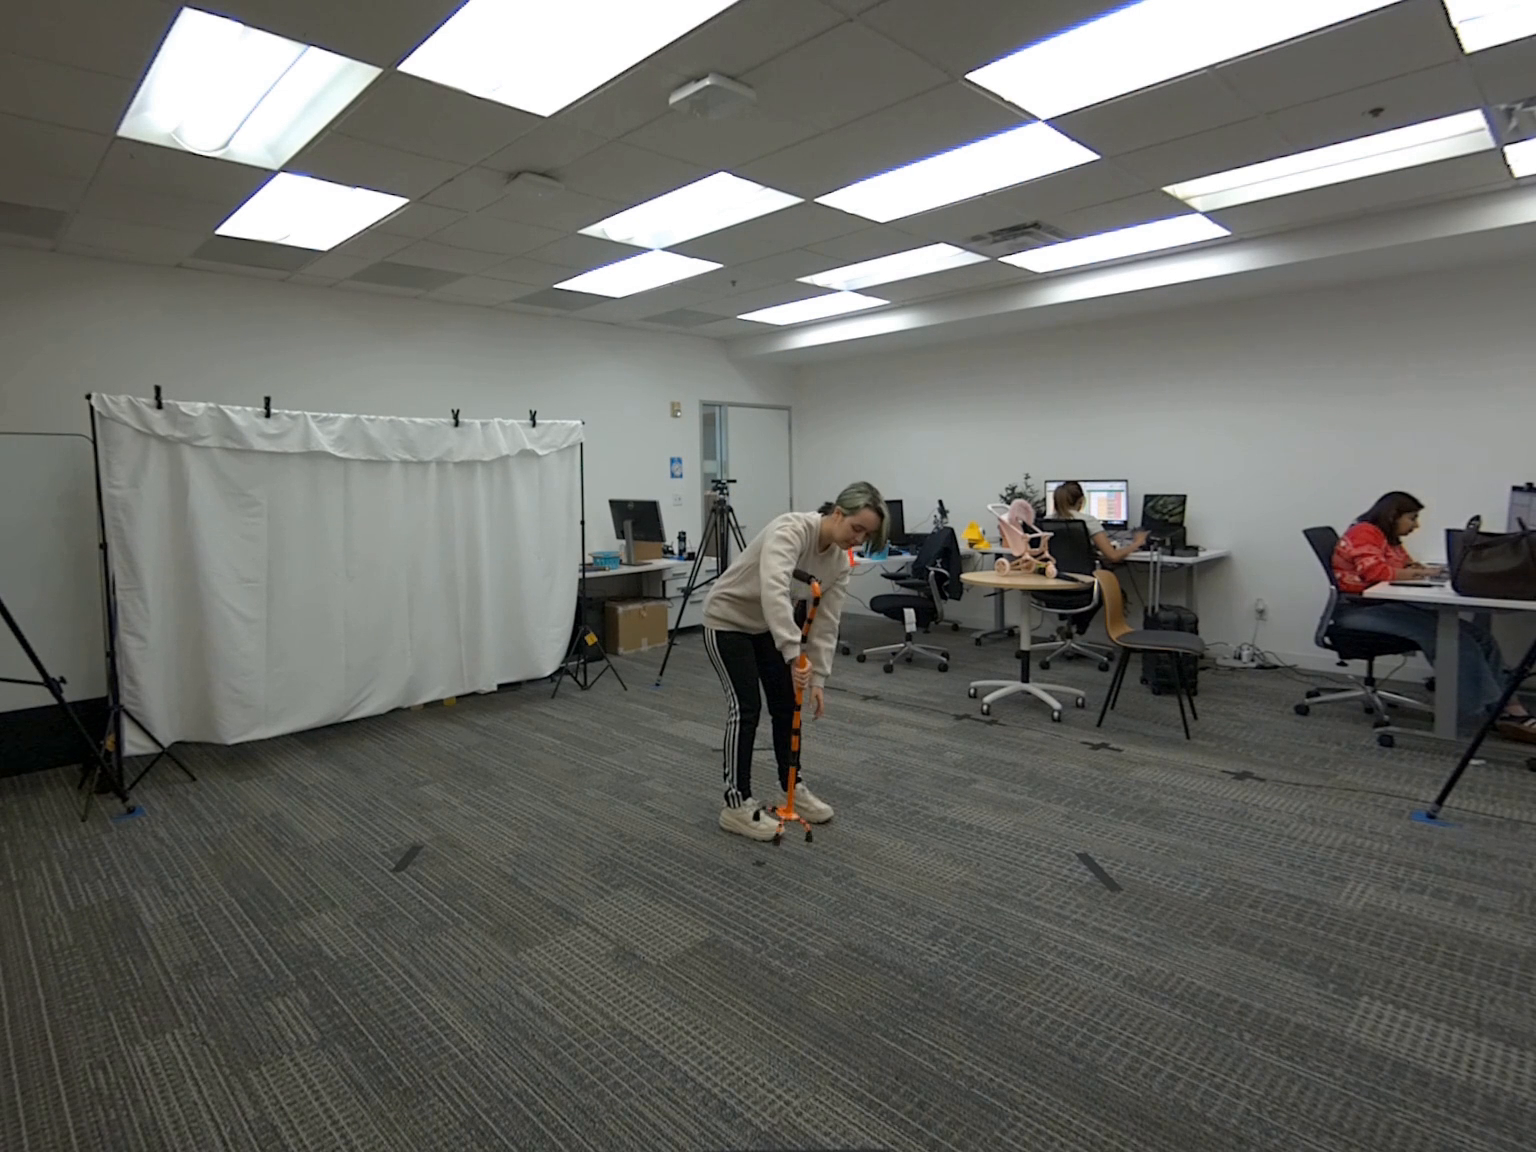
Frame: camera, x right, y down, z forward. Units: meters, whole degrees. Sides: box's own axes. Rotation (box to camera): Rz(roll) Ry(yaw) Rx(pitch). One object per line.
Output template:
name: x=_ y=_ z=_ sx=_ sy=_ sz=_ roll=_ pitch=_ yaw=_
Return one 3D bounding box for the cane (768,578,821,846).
cane: x=0.096 y=0.445 z=2.926 sx=0.148 sy=0.902 sz=0.212 roll=2 pitch=9 yaw=-23
